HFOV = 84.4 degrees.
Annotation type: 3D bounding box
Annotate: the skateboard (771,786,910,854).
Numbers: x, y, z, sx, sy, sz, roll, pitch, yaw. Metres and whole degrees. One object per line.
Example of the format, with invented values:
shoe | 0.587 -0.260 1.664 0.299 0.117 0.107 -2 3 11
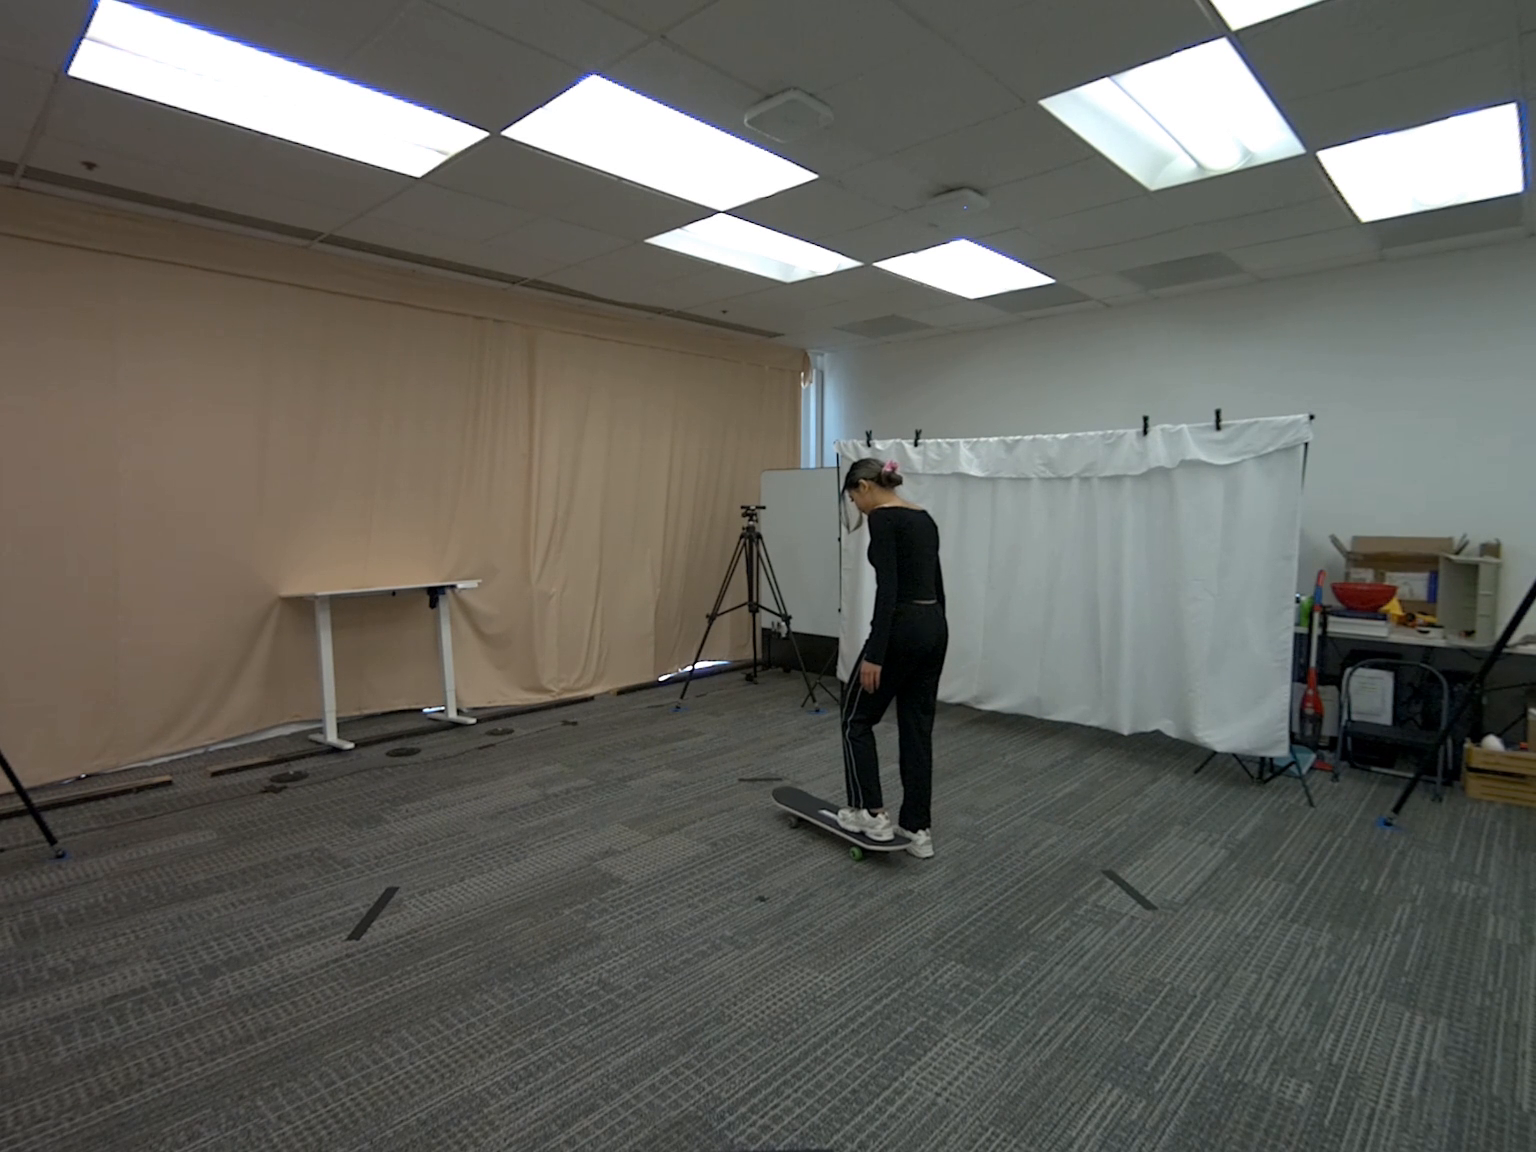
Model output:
skateboard | 0.289 1.042 3.521 0.188 0.110 0.810 -2 5 -35
